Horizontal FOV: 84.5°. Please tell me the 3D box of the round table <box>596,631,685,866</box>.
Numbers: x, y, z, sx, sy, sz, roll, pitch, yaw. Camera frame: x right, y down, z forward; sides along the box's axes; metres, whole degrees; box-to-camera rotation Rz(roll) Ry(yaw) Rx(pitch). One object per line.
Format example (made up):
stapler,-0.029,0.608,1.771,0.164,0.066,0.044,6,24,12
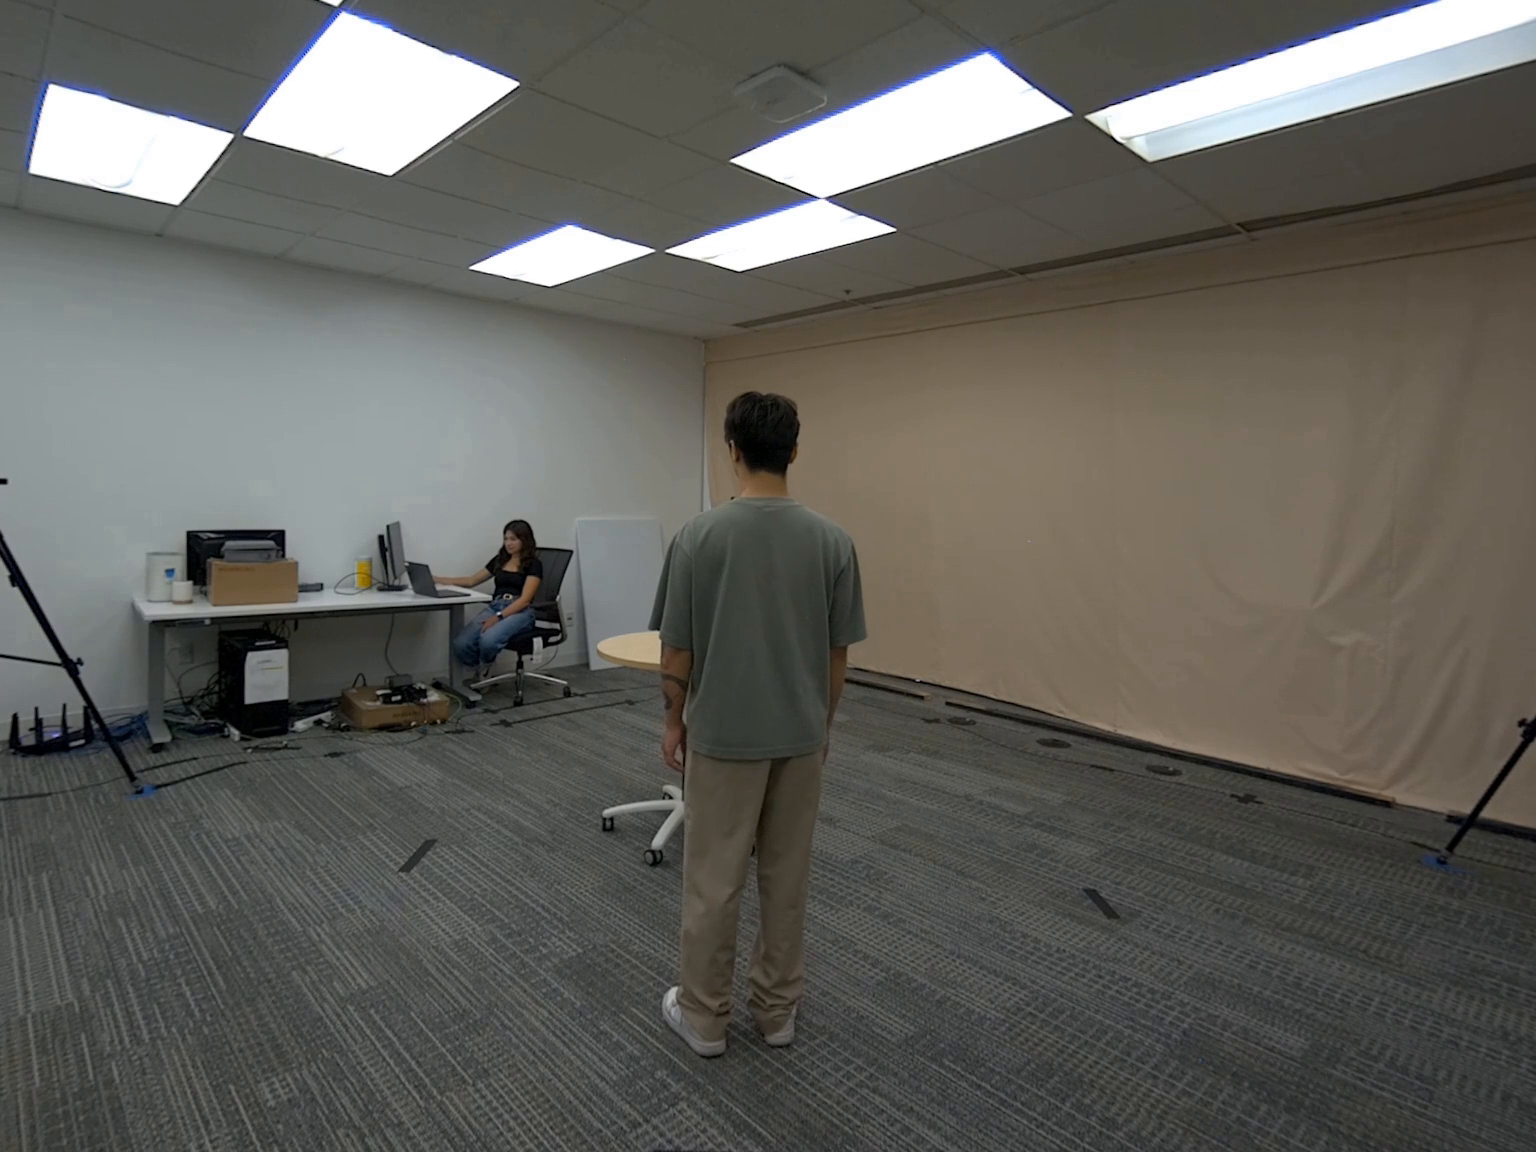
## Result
round table,-0.331,0.679,3.488,0.784,0.784,0.788,2,5,-2
